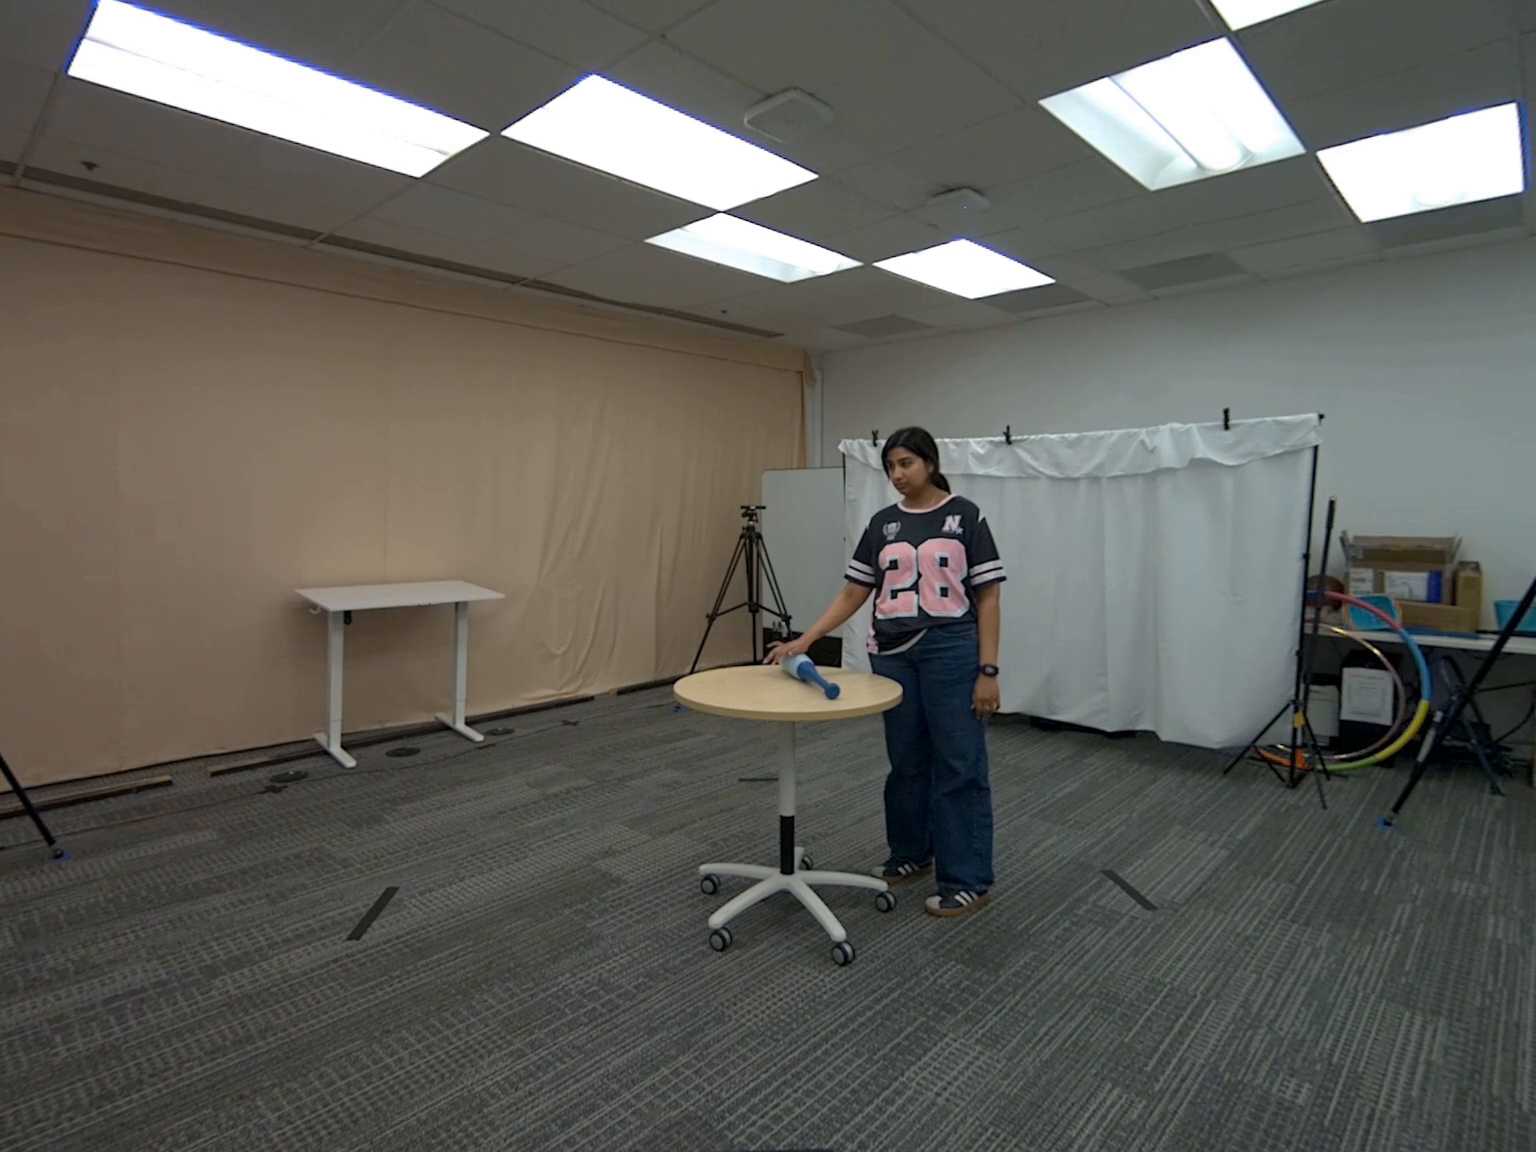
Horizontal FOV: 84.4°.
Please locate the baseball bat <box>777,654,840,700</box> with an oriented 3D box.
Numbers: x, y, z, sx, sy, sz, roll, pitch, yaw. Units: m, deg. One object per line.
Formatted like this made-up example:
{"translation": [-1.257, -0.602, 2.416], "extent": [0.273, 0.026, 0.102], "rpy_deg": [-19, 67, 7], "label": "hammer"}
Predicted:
{"translation": [0.146, 0.332, 2.881], "extent": [0.088, 0.089, 0.552], "rpy_deg": [-1, 7, -14], "label": "baseball bat"}
